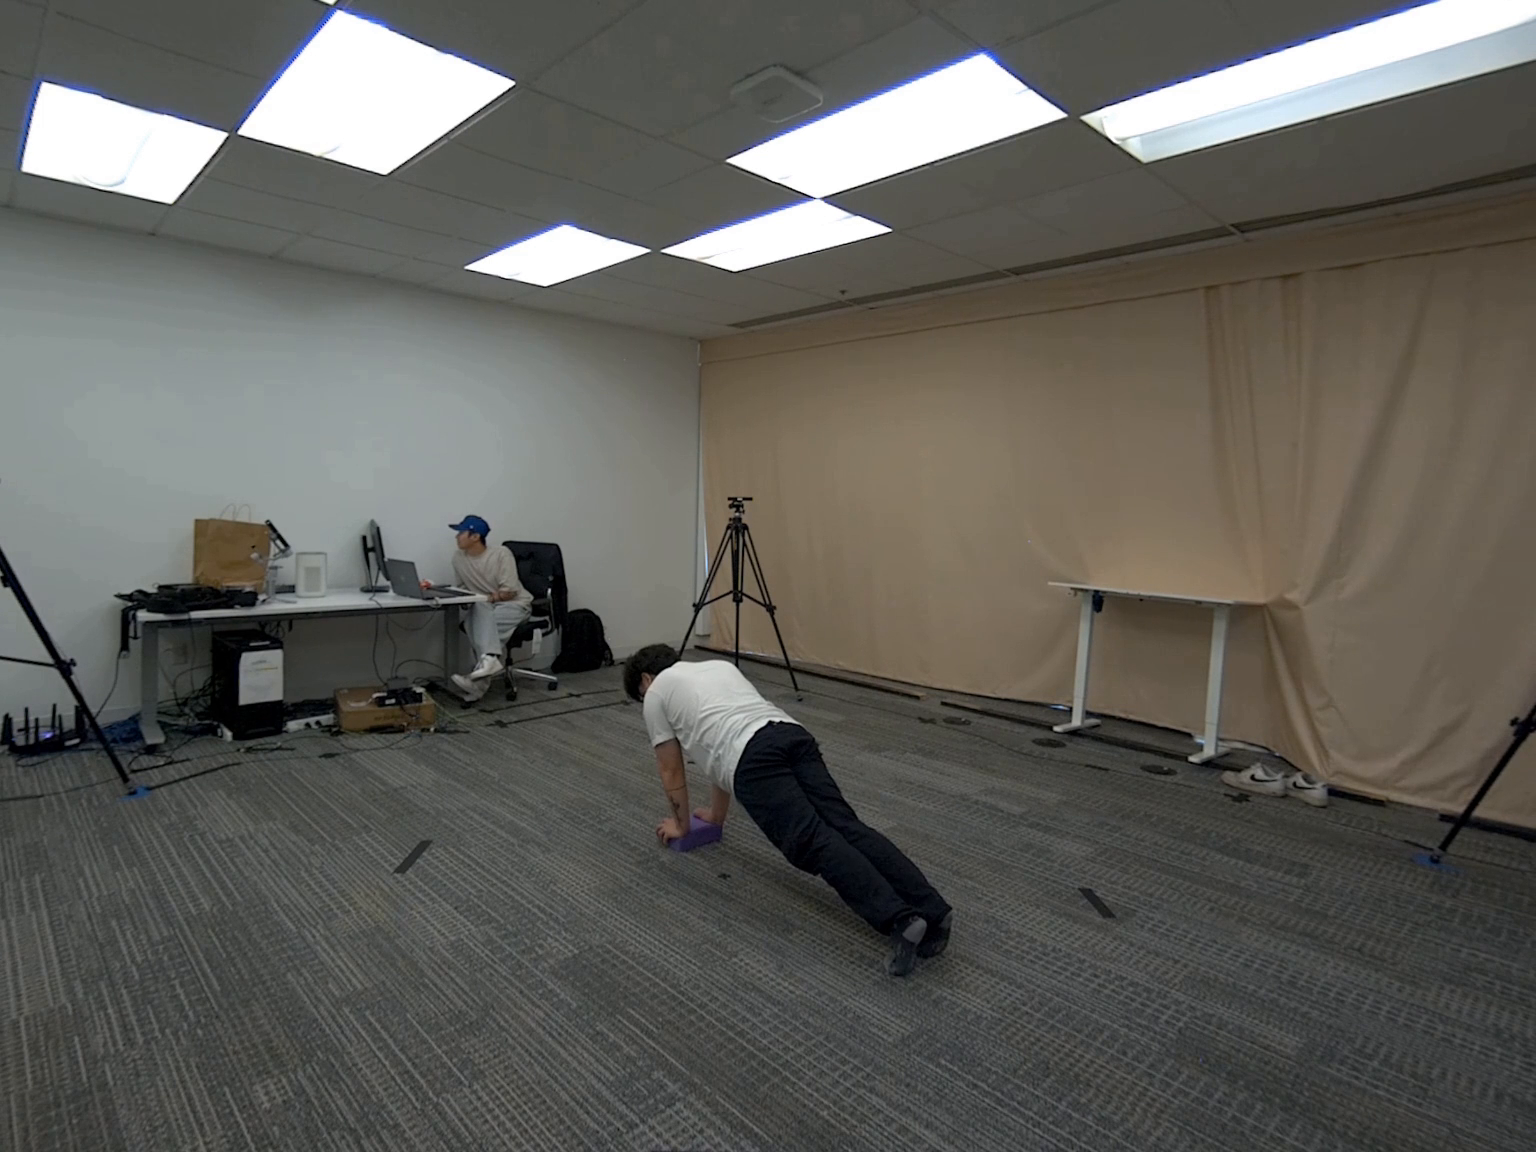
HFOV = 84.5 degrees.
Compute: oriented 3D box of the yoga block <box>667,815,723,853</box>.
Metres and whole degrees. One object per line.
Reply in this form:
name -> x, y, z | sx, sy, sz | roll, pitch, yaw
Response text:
yoga block -> -0.321, 1.042, 3.424 | 0.153, 0.076, 0.224 | 7, 8, 44
